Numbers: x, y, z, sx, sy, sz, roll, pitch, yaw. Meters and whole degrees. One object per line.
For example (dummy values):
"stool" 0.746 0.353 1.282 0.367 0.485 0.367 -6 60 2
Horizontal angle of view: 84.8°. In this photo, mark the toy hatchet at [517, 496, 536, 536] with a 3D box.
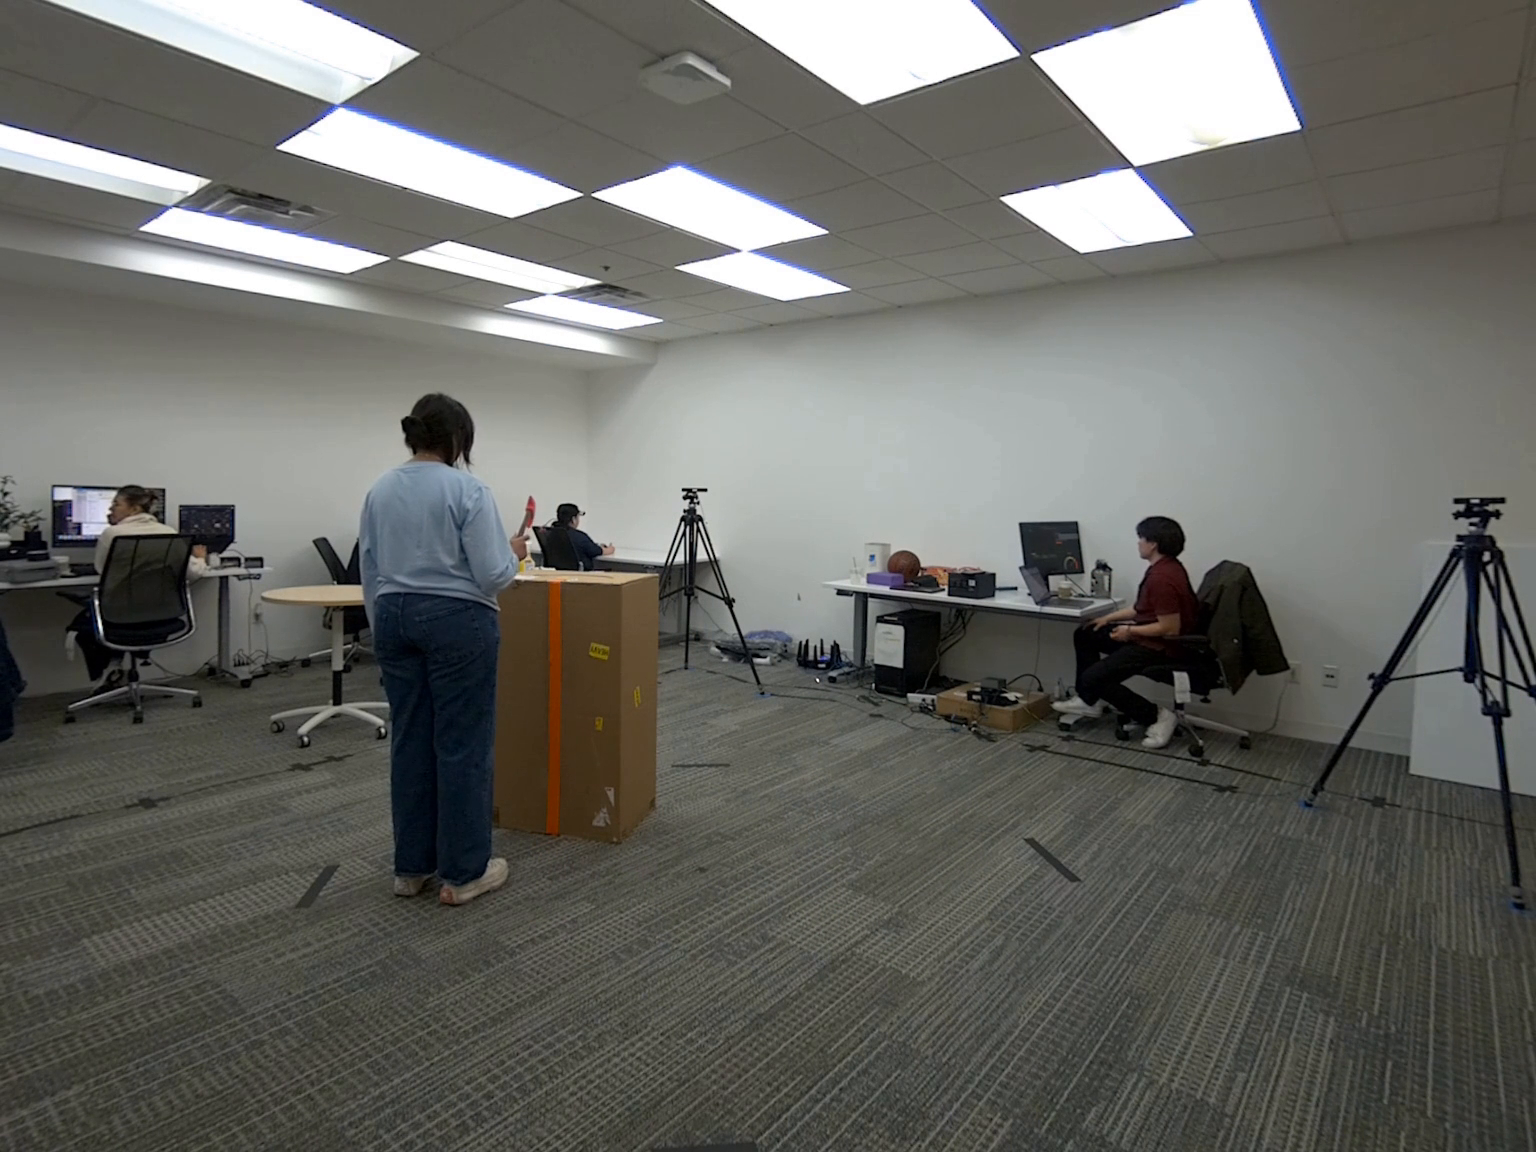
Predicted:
"toy hatchet" -0.931 -0.168 3.188 0.029 0.276 0.129 7 -29 -6
